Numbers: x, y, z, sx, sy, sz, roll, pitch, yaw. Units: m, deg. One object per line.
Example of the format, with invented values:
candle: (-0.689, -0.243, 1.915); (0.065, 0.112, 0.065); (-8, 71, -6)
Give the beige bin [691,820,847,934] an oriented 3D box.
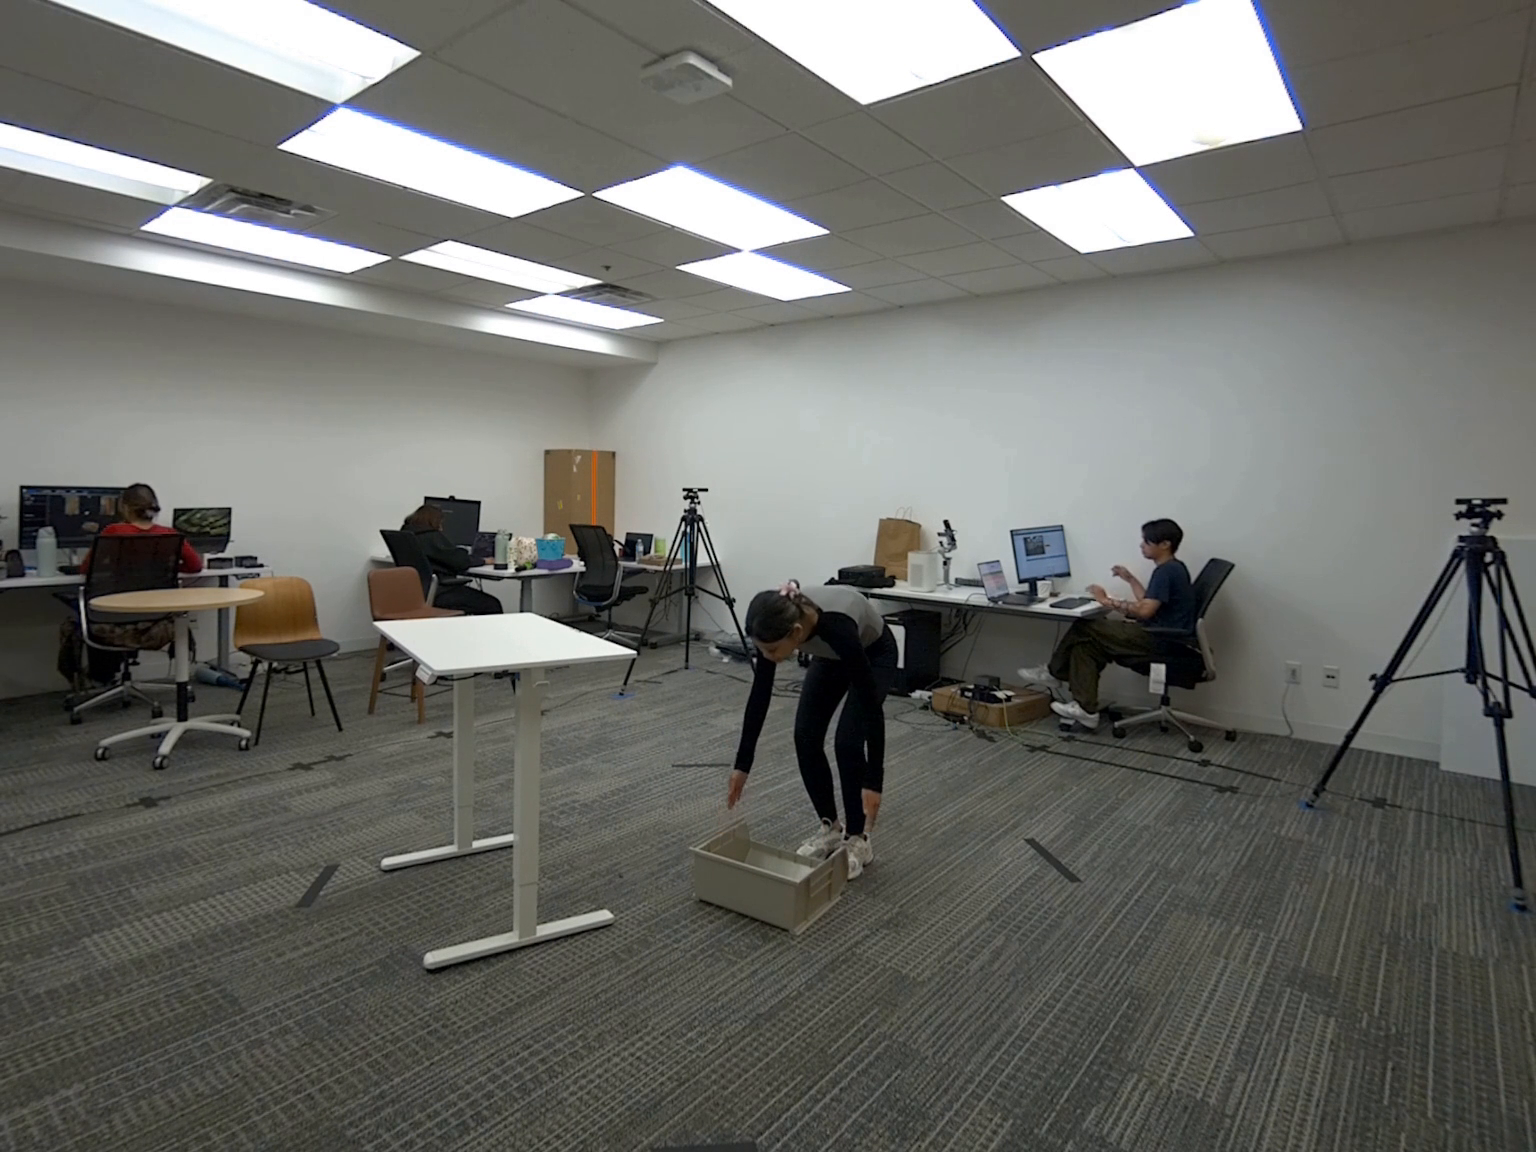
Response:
beige bin: (-0.001, 1.004, 2.902); (0.435, 0.188, 0.367); (5, 7, 32)
